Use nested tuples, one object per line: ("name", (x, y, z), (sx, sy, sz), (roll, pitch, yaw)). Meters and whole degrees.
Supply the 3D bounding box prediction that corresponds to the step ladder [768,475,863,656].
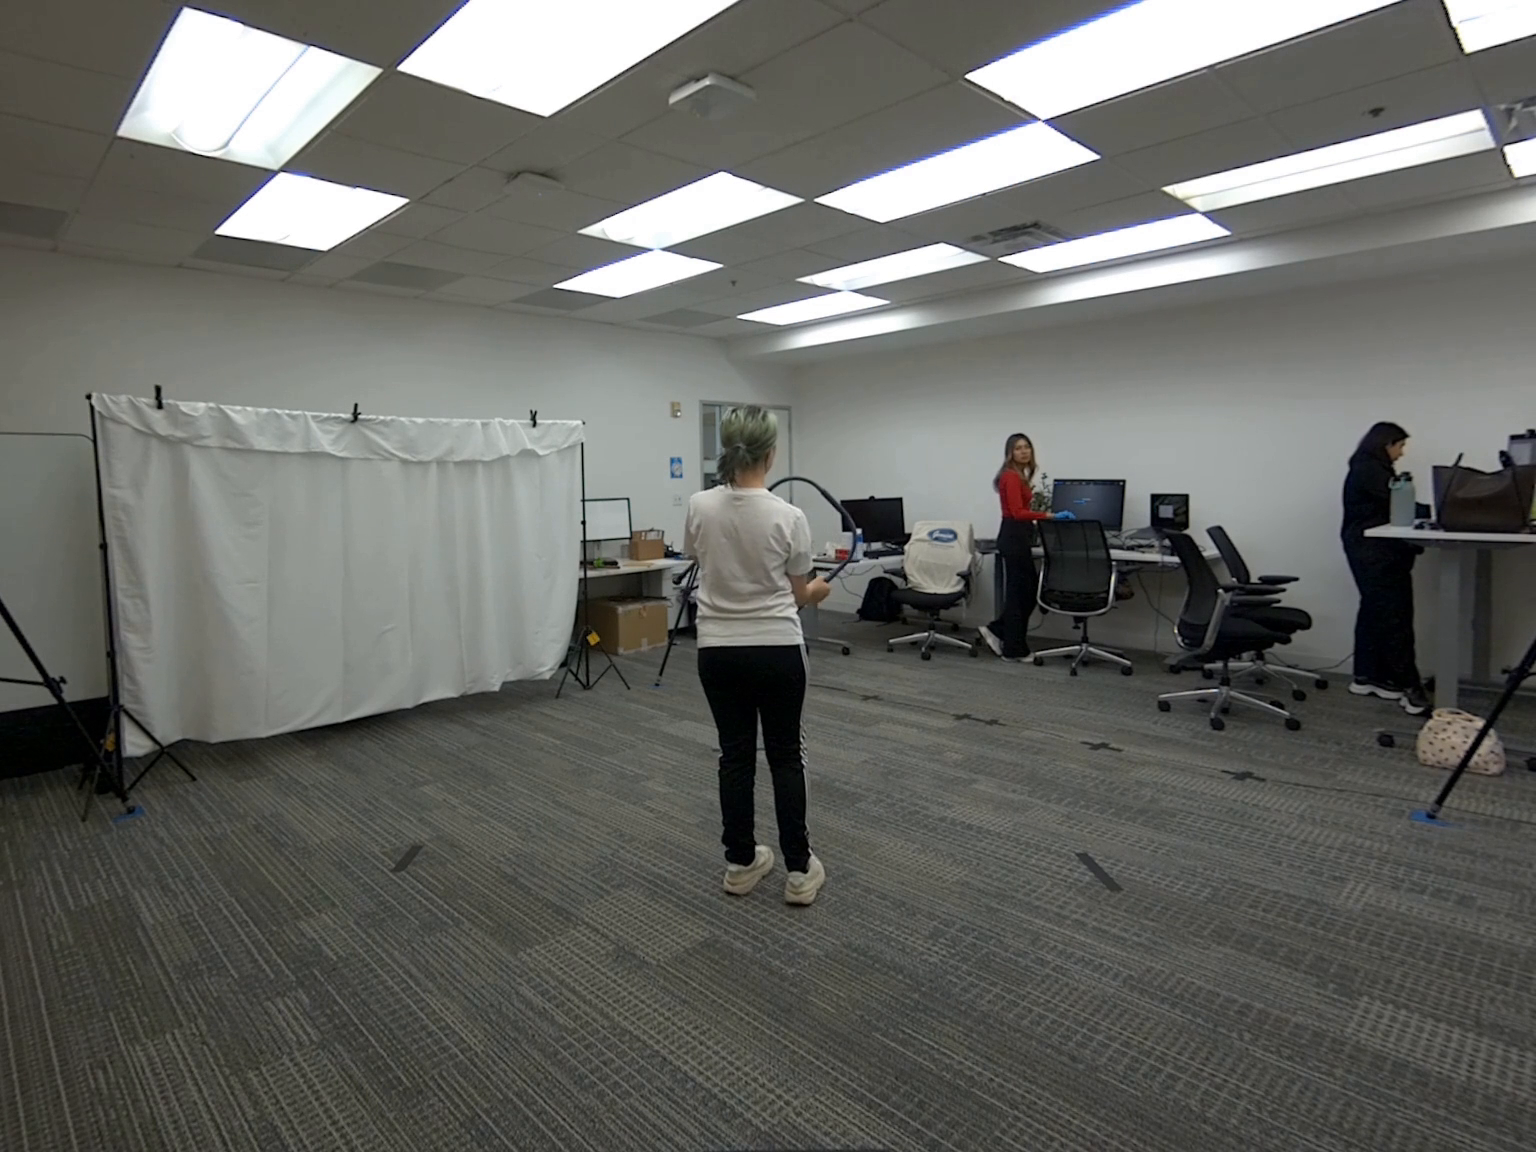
("step ladder", (0.032, -0.070, 3.225), (0.606, 0.434, 0.347), (-45, -5, 33))
